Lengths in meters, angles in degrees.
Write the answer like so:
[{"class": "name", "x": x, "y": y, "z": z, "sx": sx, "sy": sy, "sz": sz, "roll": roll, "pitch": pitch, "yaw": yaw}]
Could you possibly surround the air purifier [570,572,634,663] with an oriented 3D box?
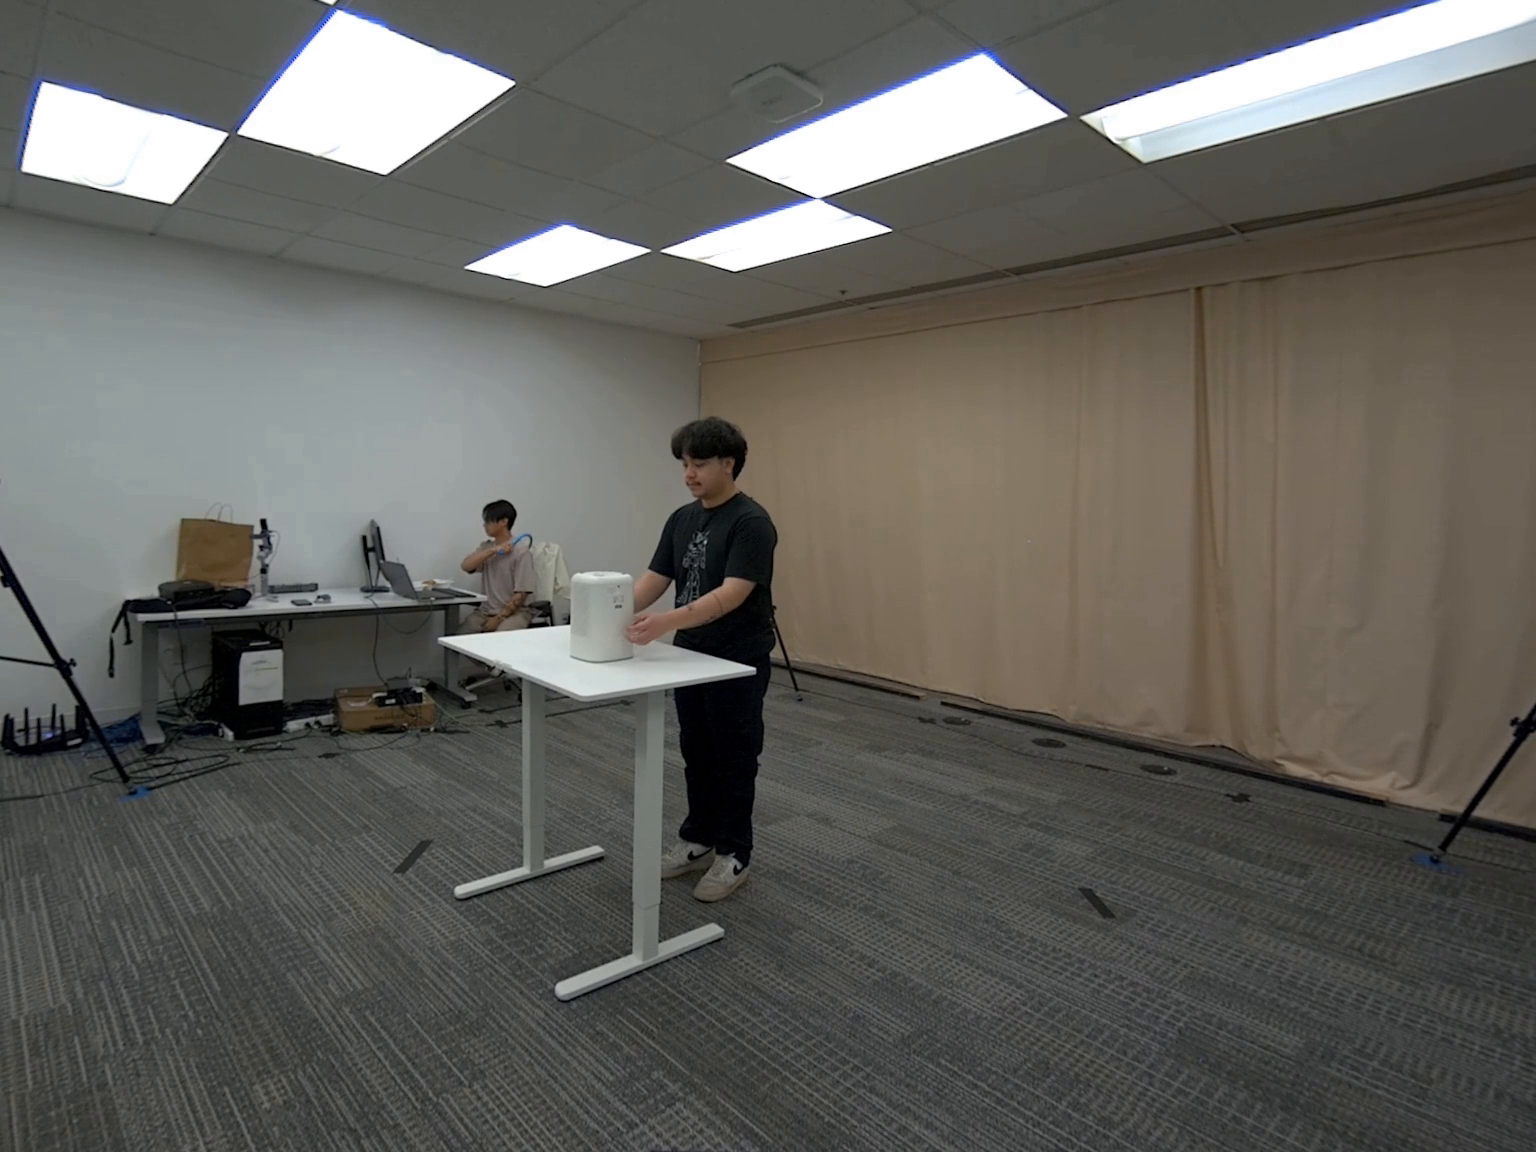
[{"class": "air purifier", "x": -0.535, "y": 0.126, "z": 2.648, "sx": 0.176, "sy": 0.264, "sz": 0.167, "roll": 6, "pitch": 7, "yaw": 45}]
